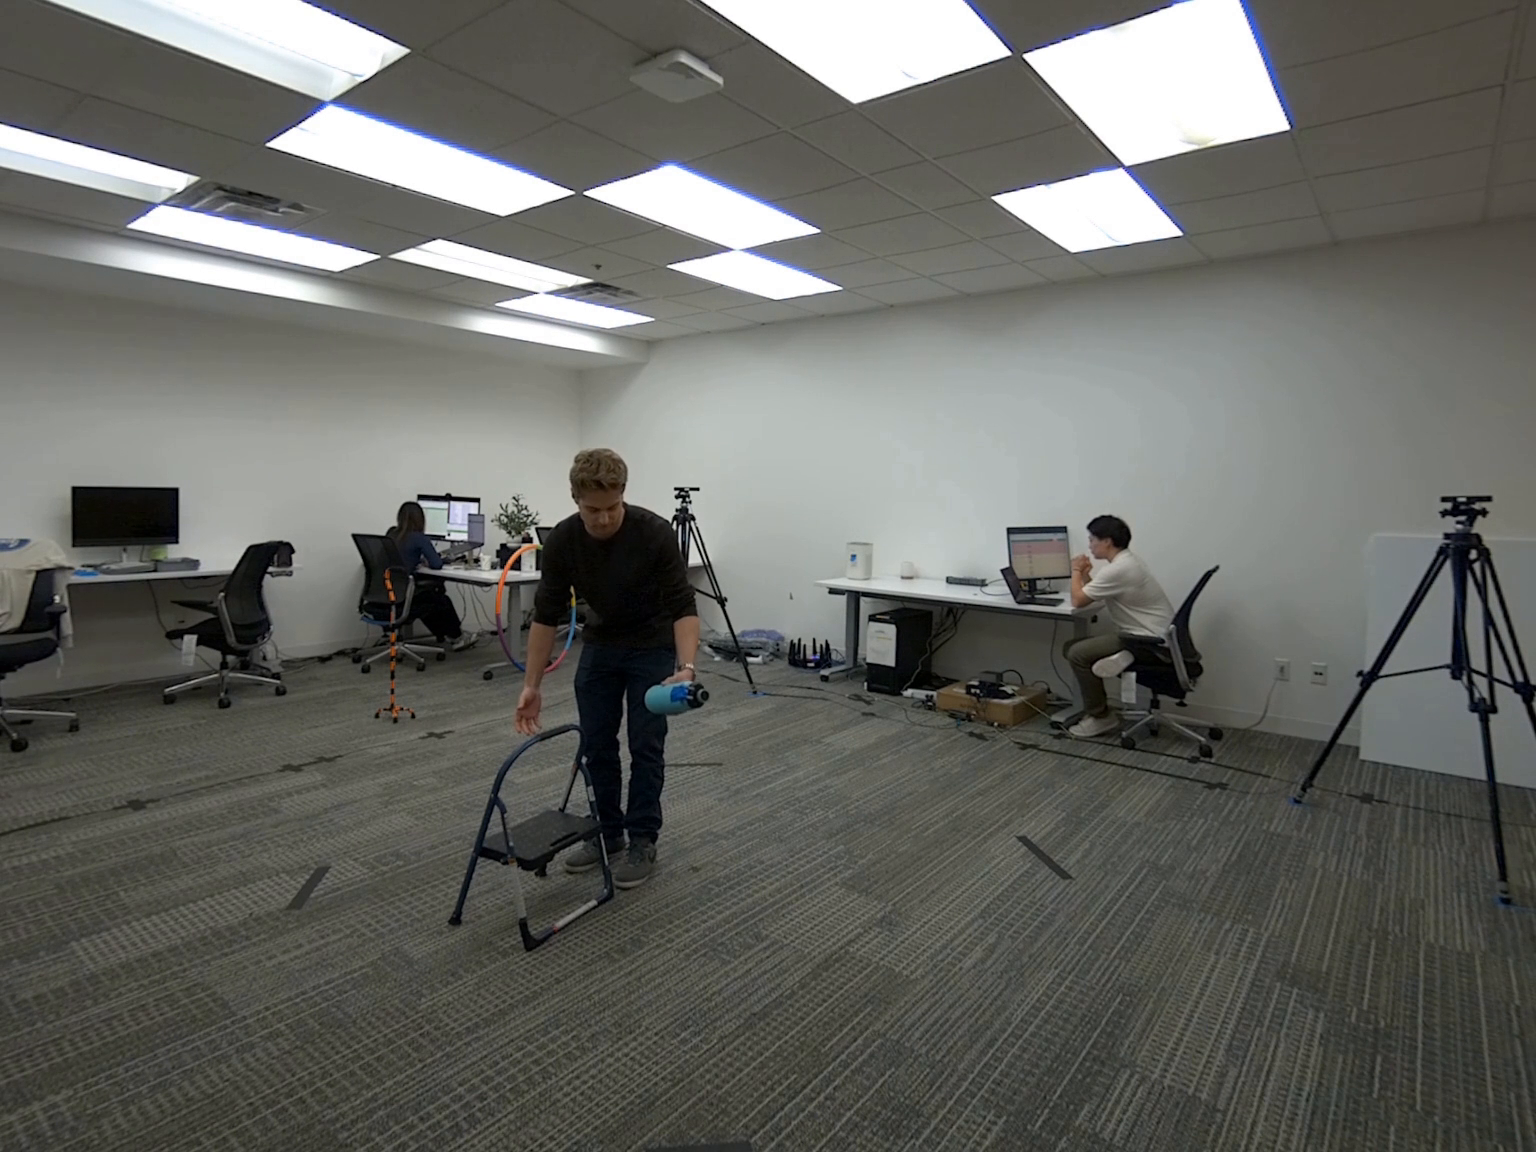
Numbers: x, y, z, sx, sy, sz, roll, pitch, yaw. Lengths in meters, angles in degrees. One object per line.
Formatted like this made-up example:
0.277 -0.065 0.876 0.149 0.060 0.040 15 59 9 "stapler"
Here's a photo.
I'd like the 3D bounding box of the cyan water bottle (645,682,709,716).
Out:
-0.302 0.389 2.660 0.090 0.093 0.289 -2 -9 -34 "cyan water bottle"
